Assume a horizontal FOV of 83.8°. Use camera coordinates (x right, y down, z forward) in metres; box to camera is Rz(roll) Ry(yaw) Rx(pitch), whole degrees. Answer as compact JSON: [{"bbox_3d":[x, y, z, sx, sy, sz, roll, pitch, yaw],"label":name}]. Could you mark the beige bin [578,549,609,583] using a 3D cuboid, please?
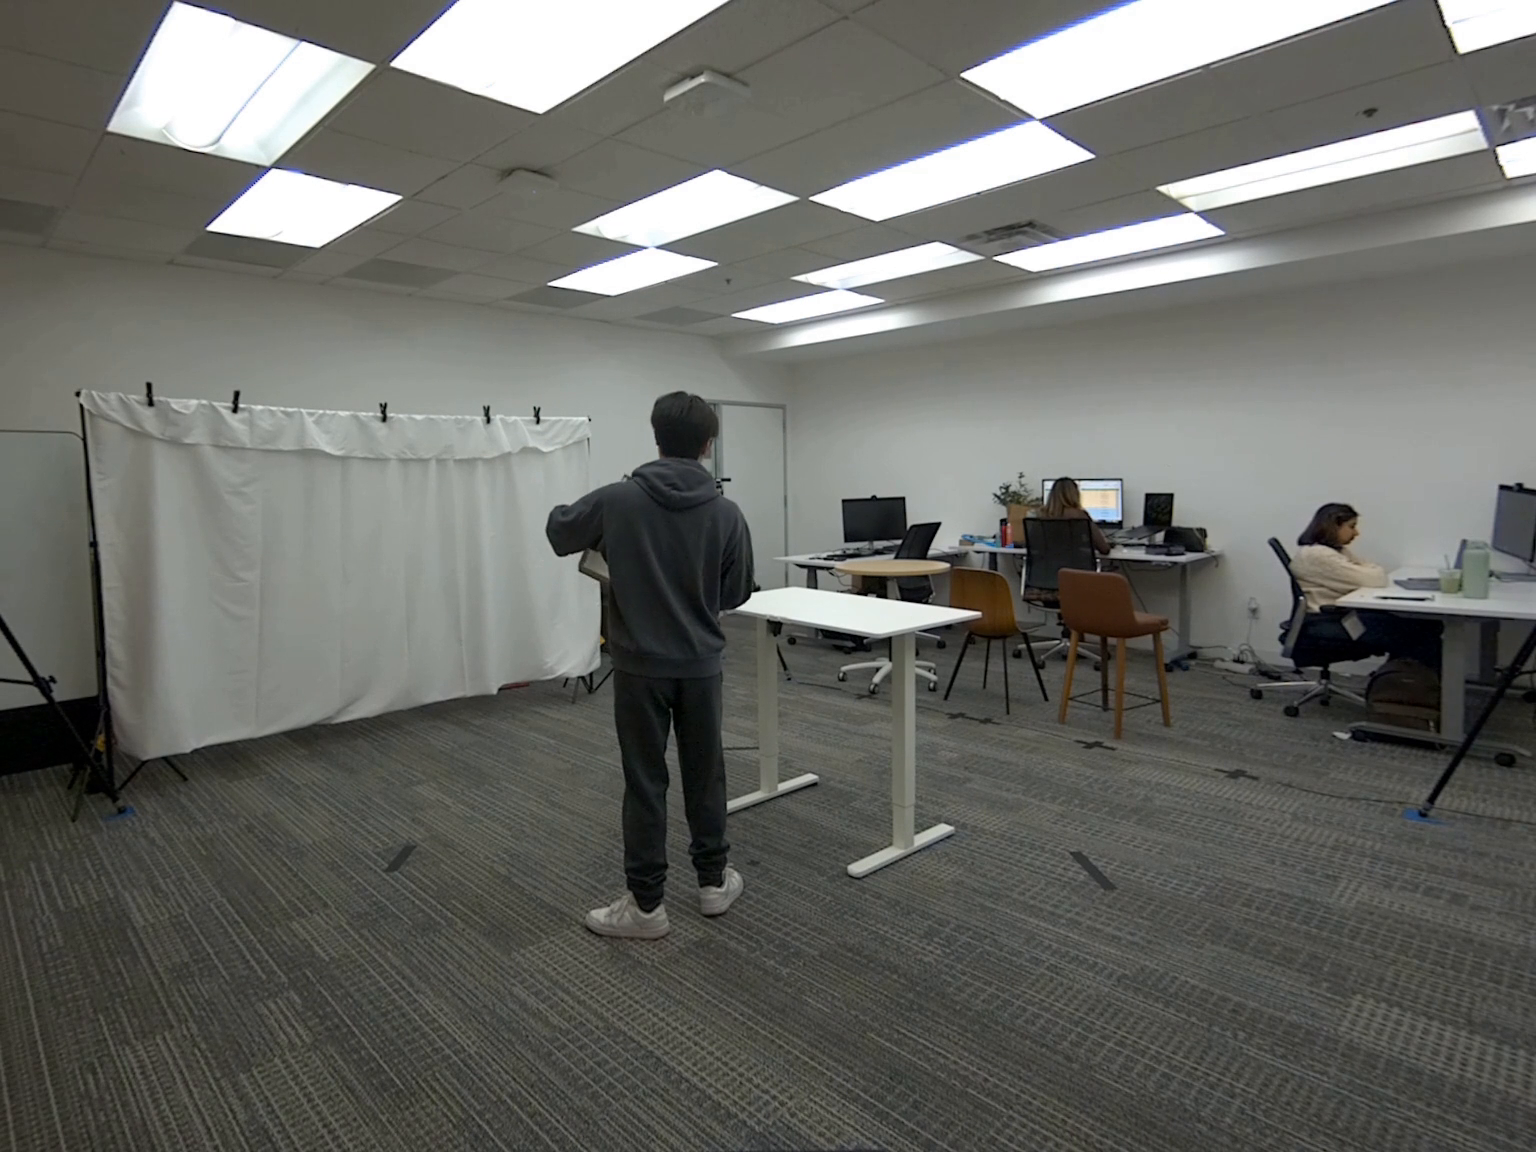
[{"bbox_3d":[-0.419,-0.102,3.136,0.420,0.381,0.188,26,-29,-4],"label":"beige bin"}]
